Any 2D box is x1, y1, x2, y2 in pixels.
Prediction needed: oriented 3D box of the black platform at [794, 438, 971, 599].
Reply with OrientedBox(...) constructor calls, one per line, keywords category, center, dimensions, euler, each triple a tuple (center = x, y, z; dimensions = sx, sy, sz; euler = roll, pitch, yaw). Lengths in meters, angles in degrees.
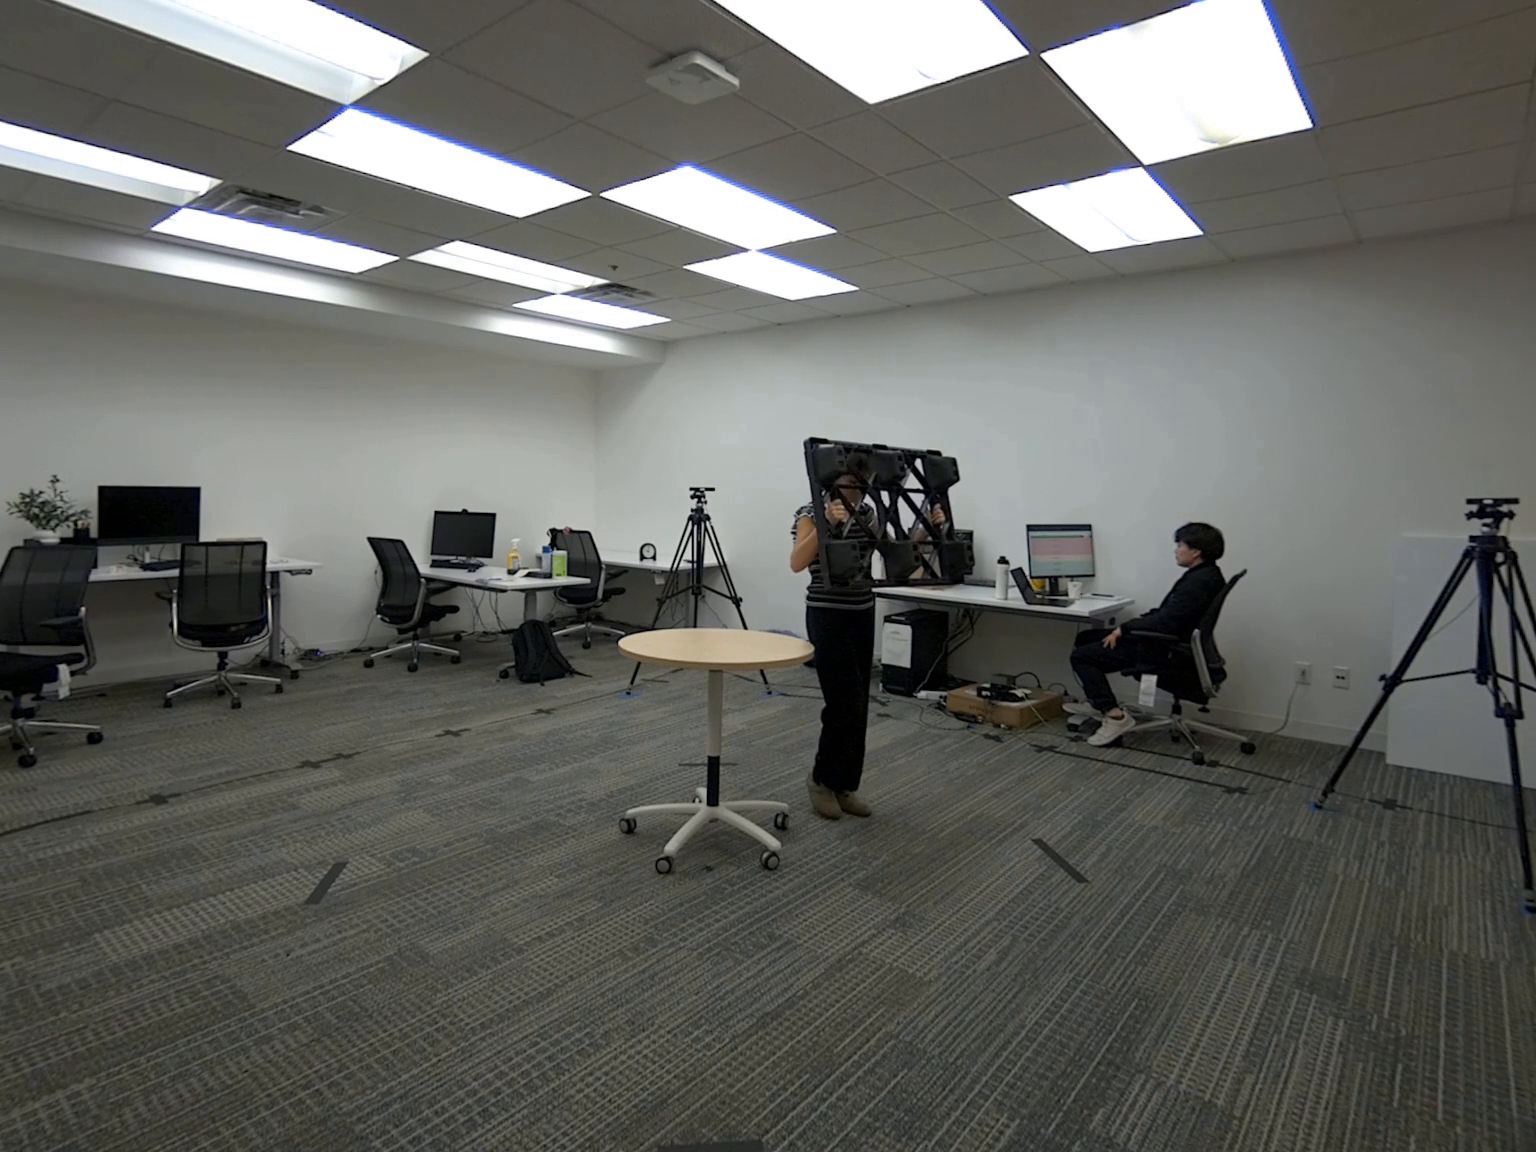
OrientedBox(category="black platform", center=(0.507, -0.263, 3.456), dimensions=(0.782, 0.611, 0.146), euler=(-1, -11, -34))
